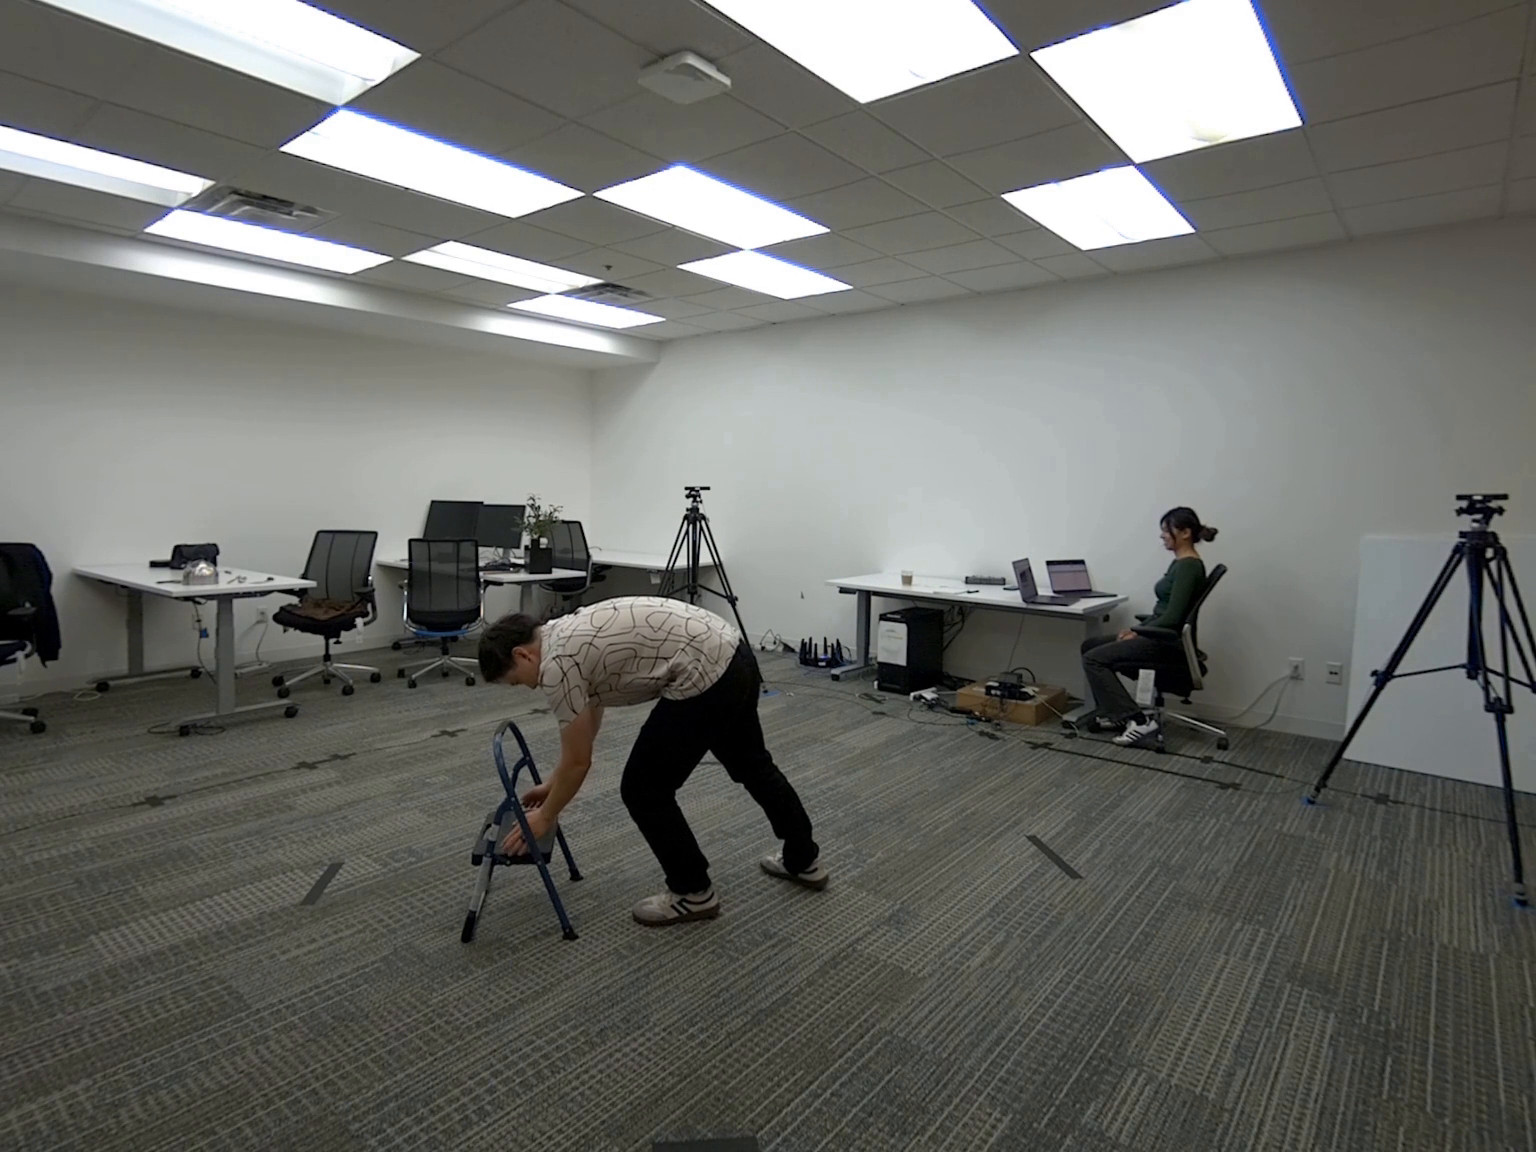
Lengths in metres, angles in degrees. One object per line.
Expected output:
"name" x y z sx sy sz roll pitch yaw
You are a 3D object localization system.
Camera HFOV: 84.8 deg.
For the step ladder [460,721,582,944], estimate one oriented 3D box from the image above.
"step ladder" -0.805 0.789 2.779 0.346 0.604 0.436 0 3 -9
